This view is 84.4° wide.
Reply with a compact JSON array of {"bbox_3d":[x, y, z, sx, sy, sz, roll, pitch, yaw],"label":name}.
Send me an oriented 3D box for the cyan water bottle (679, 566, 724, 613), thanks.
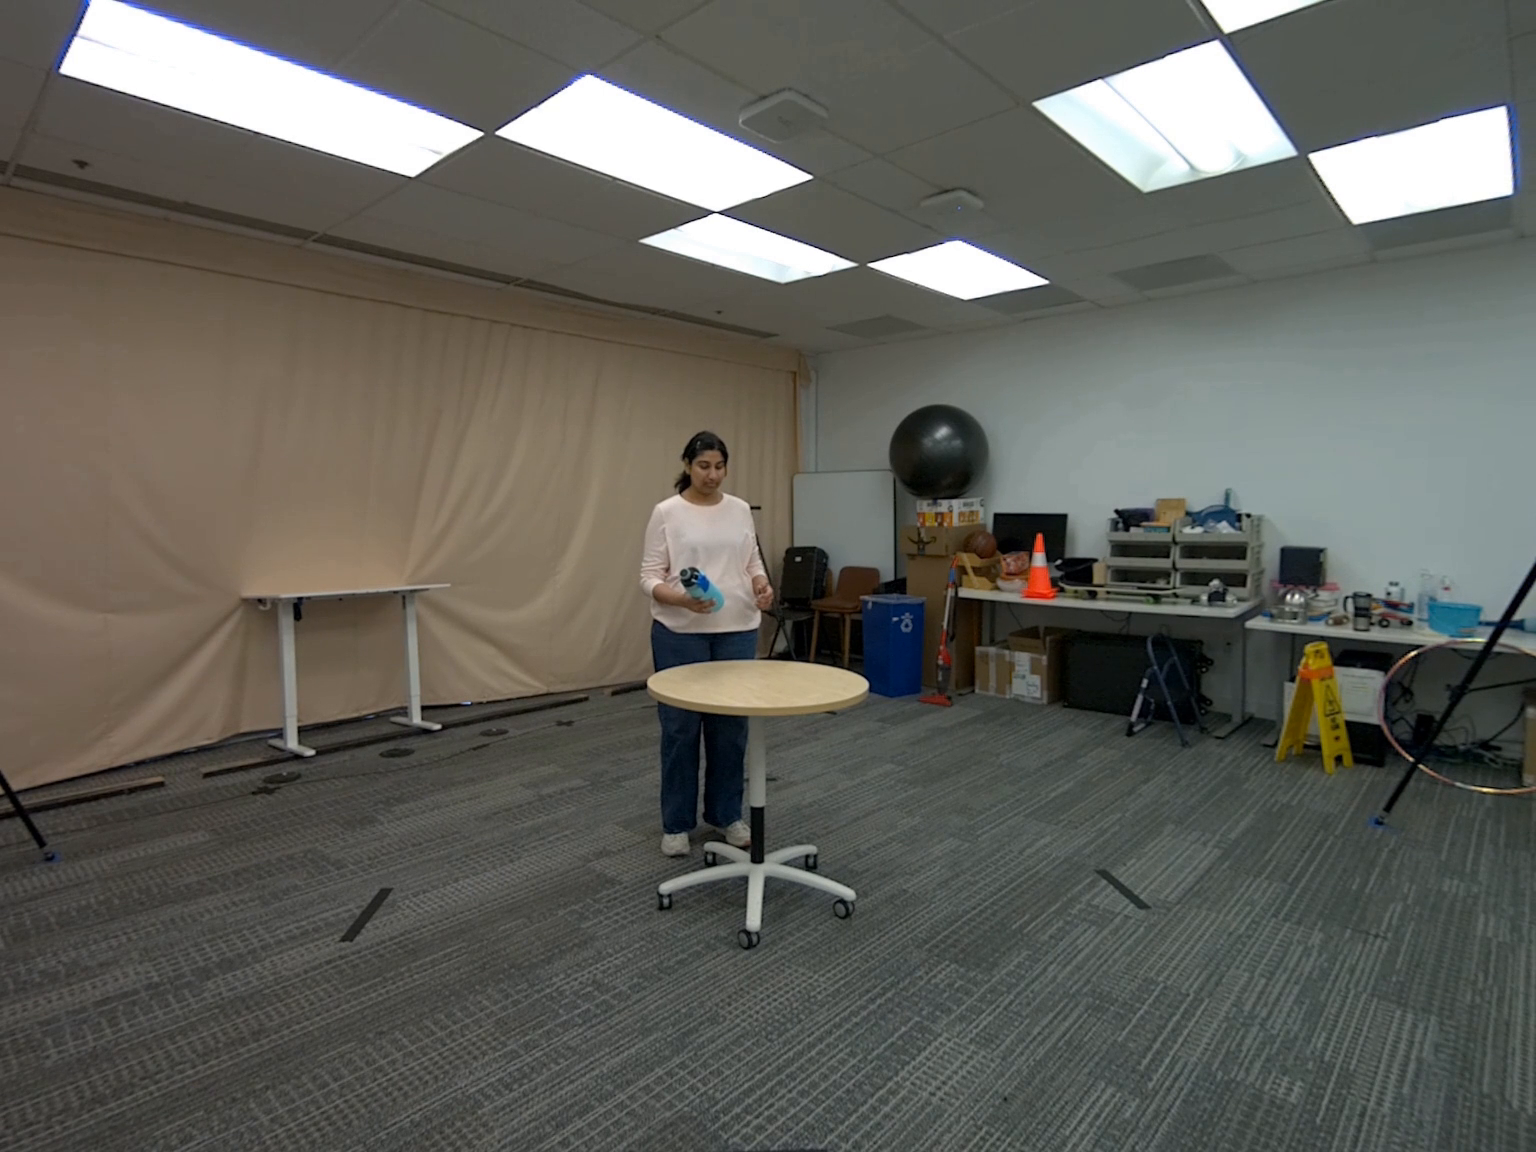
[{"bbox_3d":[-0.253,0.046,3.108,0.094,0.093,0.275,2,-23,16],"label":"cyan water bottle"}]
